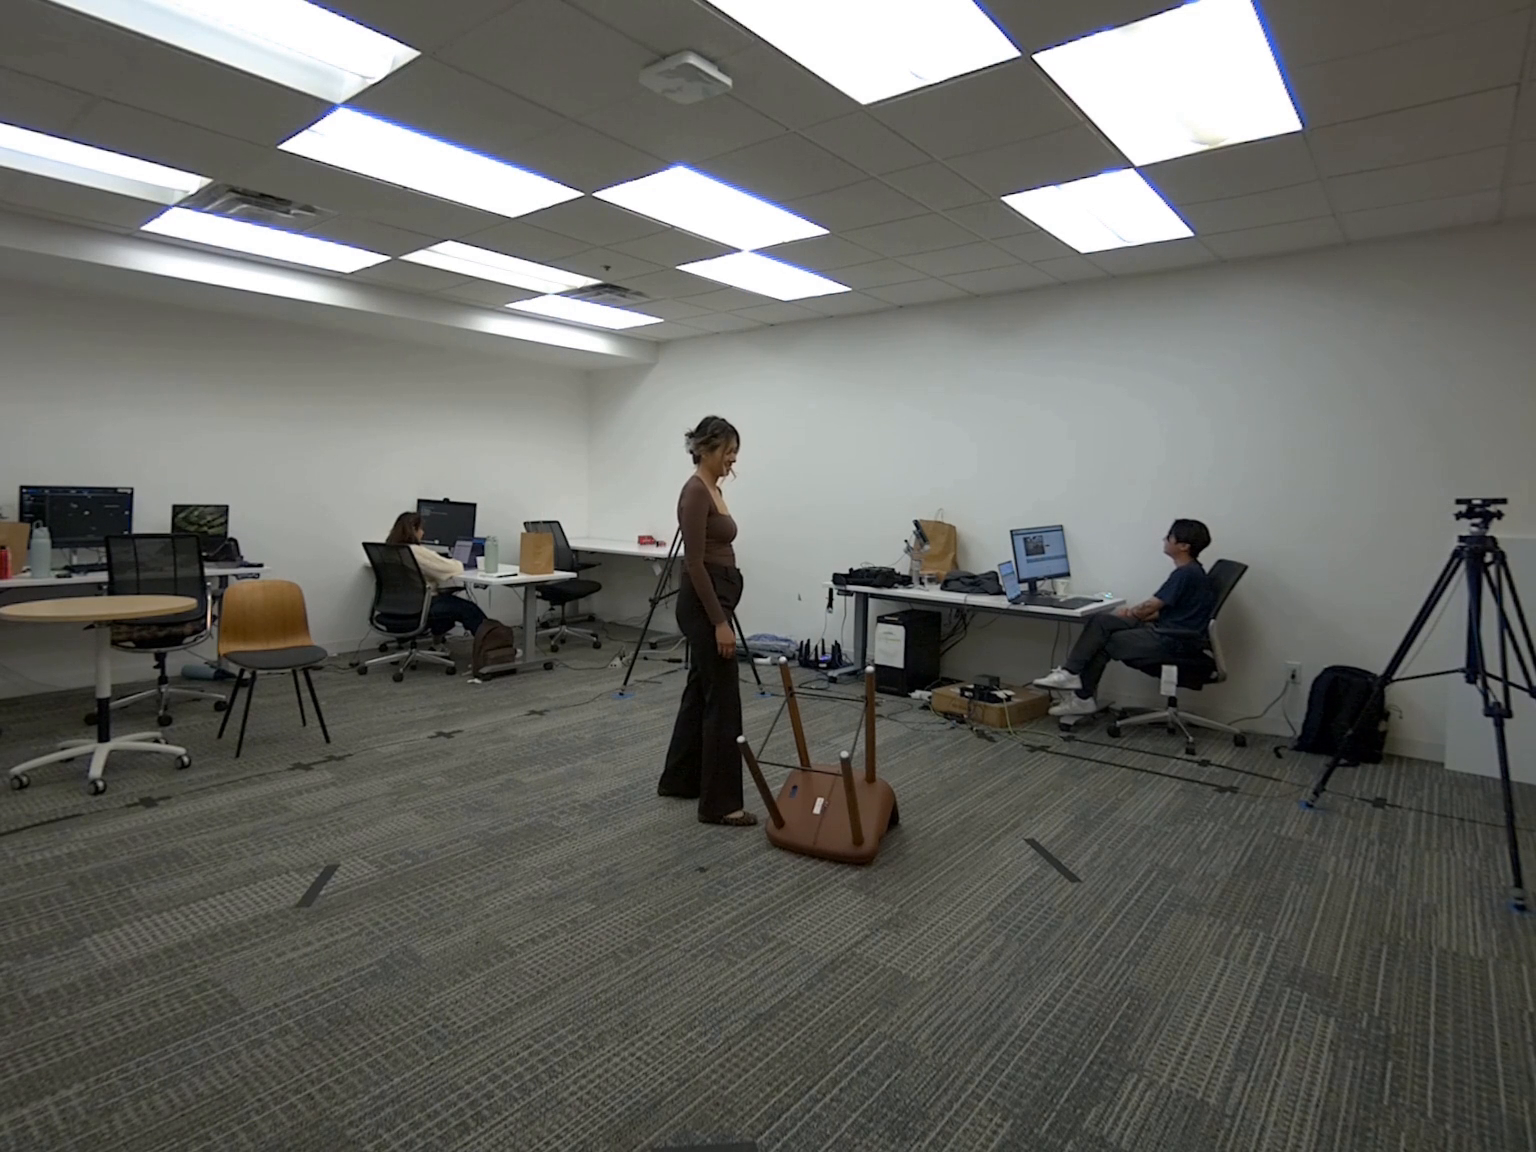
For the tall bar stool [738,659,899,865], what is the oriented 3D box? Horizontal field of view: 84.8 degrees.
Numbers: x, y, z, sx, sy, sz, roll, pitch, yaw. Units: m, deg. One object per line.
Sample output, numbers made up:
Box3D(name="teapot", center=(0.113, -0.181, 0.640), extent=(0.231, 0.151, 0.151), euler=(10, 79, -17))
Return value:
Box3D(name="tall bar stool", center=(0.223, 0.808, 3.313), extent=(0.468, 0.861, 0.472), euler=(3, 38, 23))
